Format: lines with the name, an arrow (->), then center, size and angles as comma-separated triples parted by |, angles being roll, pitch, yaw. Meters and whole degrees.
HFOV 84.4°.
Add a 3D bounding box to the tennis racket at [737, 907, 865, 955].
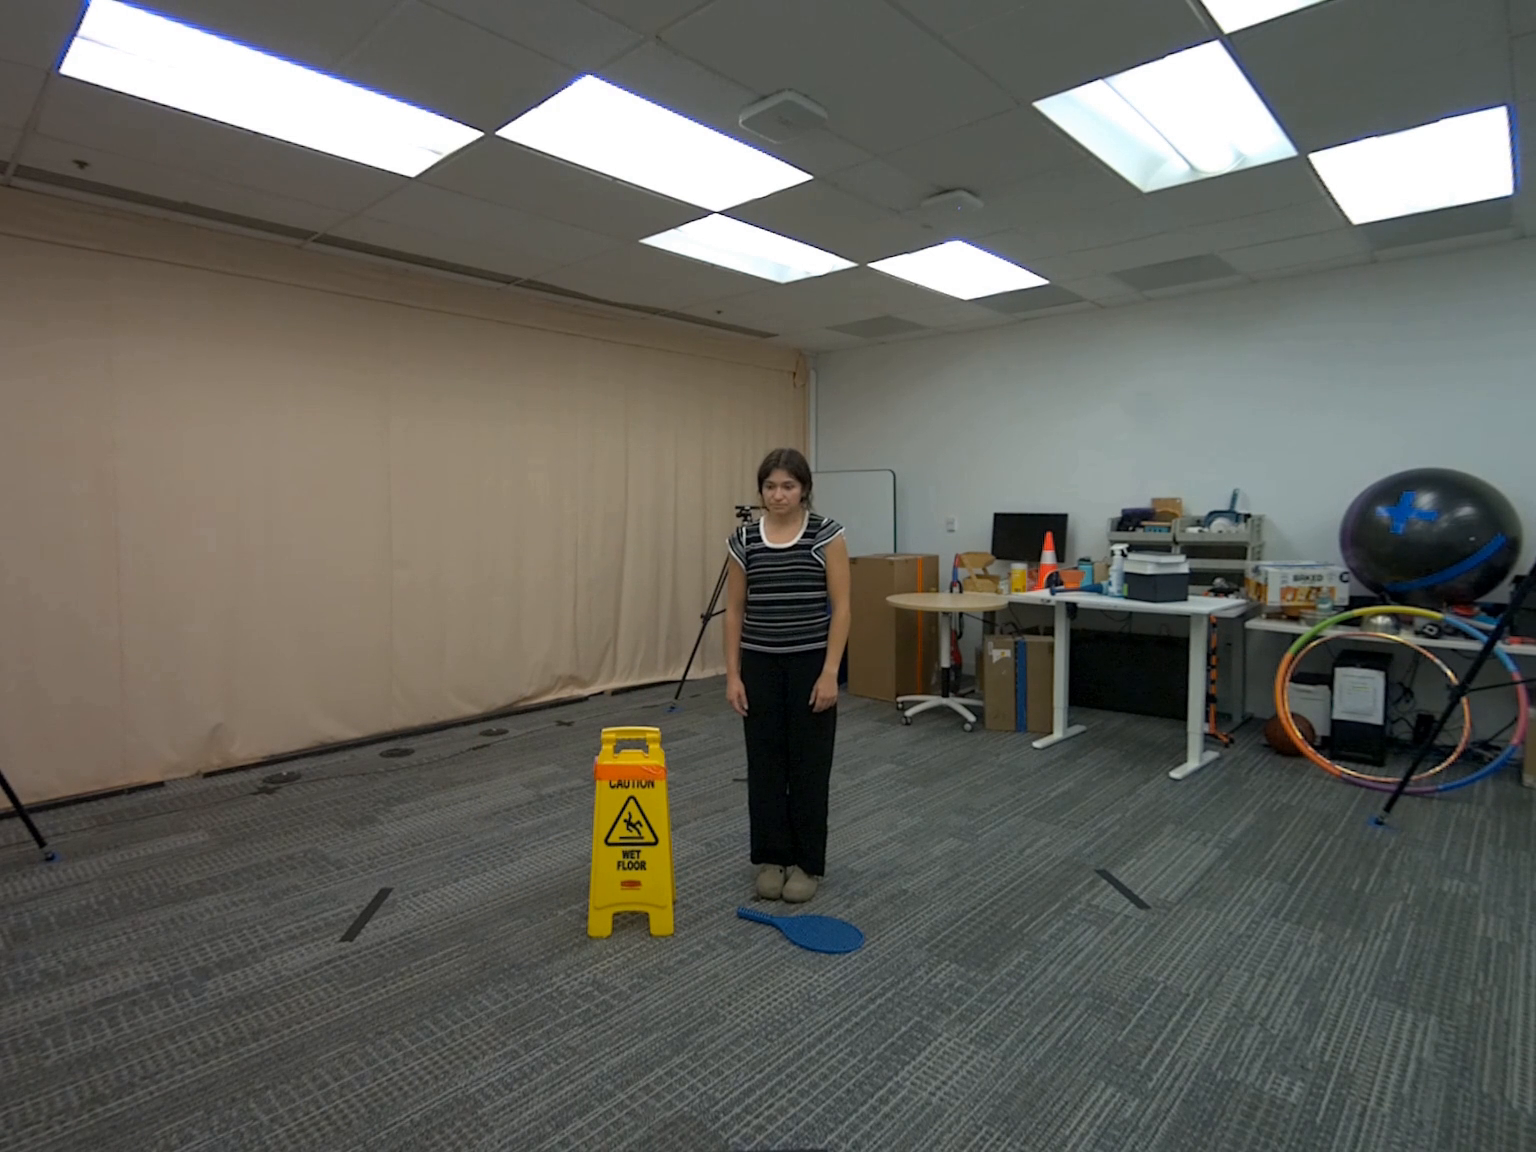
tennis racket -> 0.099, 1.140, 2.762 | 0.443, 0.031, 0.209 | 4, 6, 23
